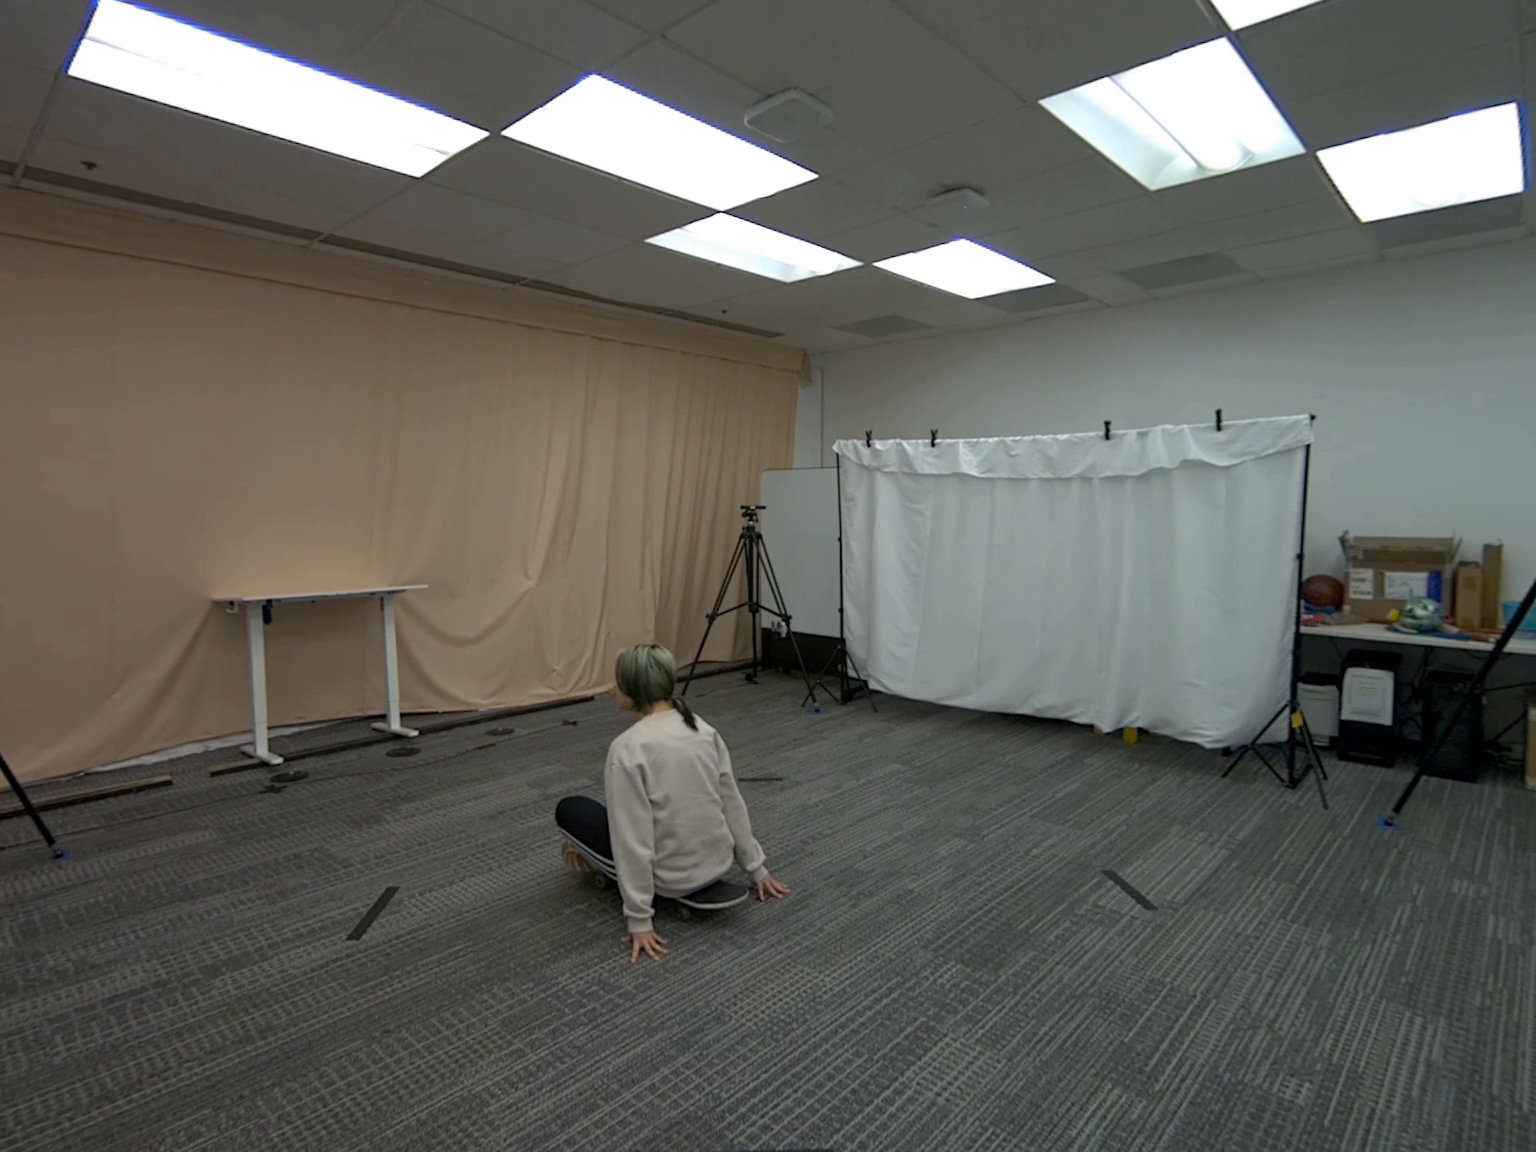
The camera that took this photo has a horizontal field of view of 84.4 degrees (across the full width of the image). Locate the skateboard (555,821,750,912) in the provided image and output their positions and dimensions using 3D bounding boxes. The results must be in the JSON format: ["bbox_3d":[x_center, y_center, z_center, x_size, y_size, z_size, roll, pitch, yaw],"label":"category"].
[{"bbox_3d":[-0.419,1.094,3.018,0.811,0.110,0.188,5,9,38],"label":"skateboard"}]
